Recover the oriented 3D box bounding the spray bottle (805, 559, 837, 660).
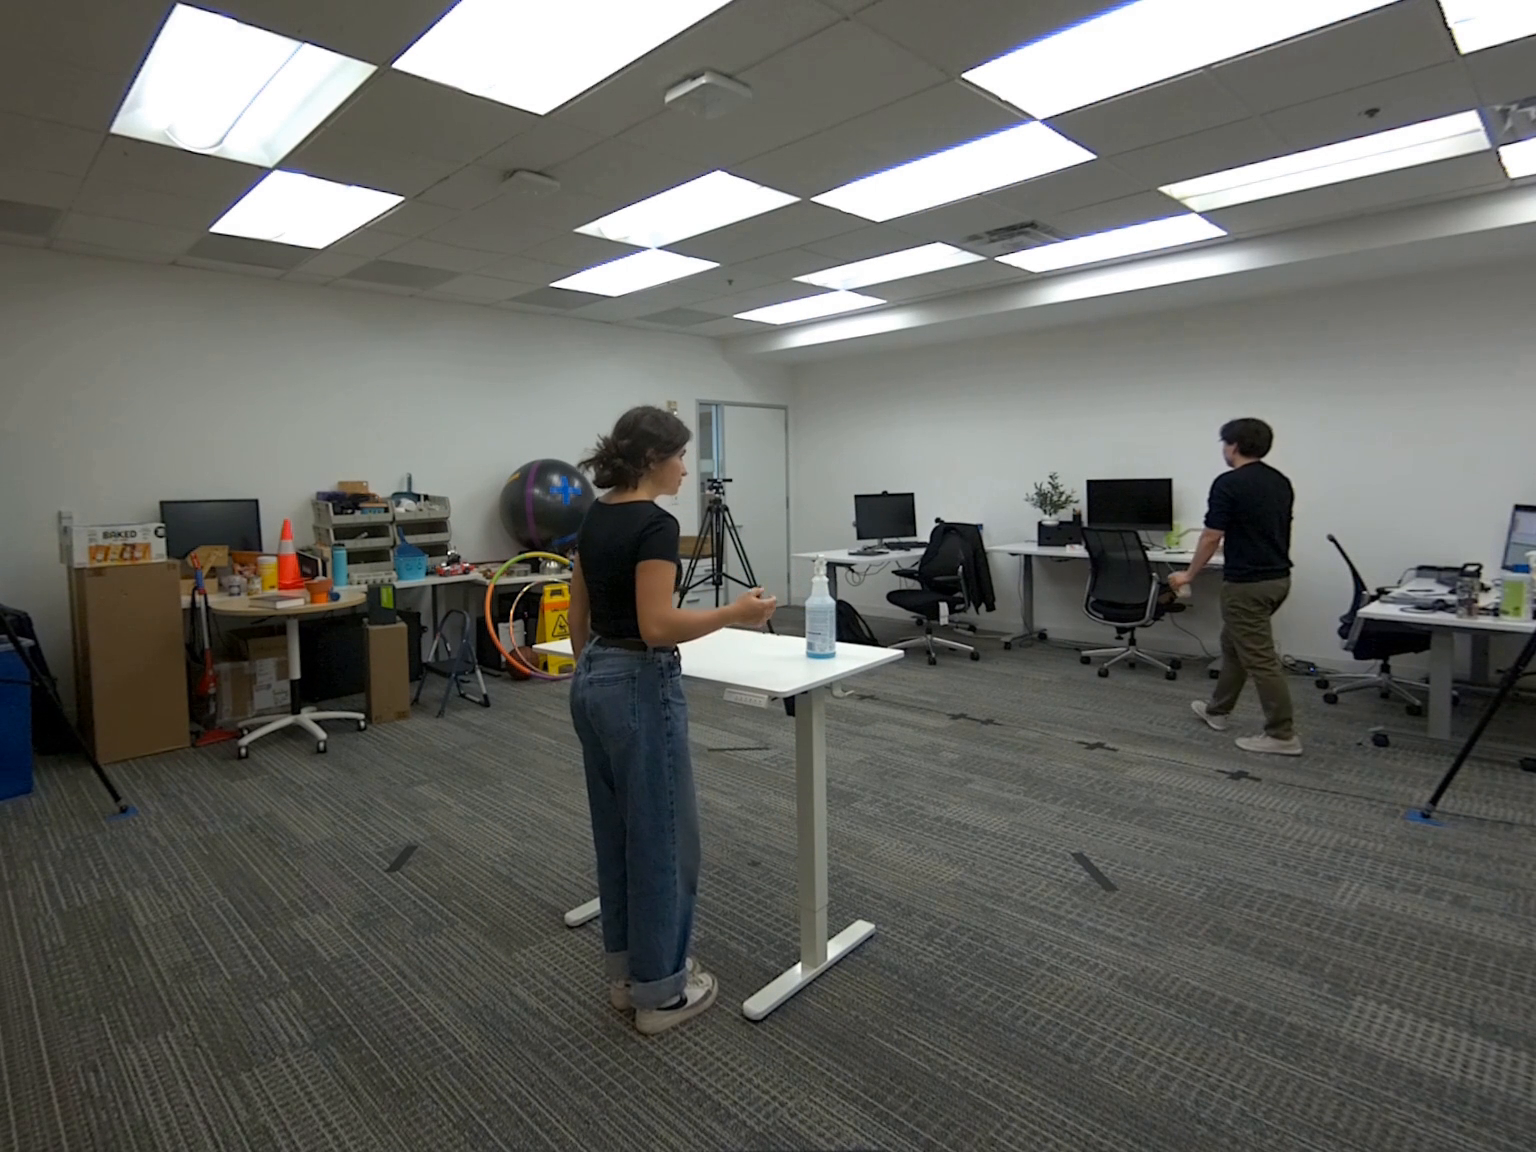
[{"bbox_3d":[0.164,0.090,2.450,0.089,0.296,0.088,3,6,22],"label":"spray bottle"}]
